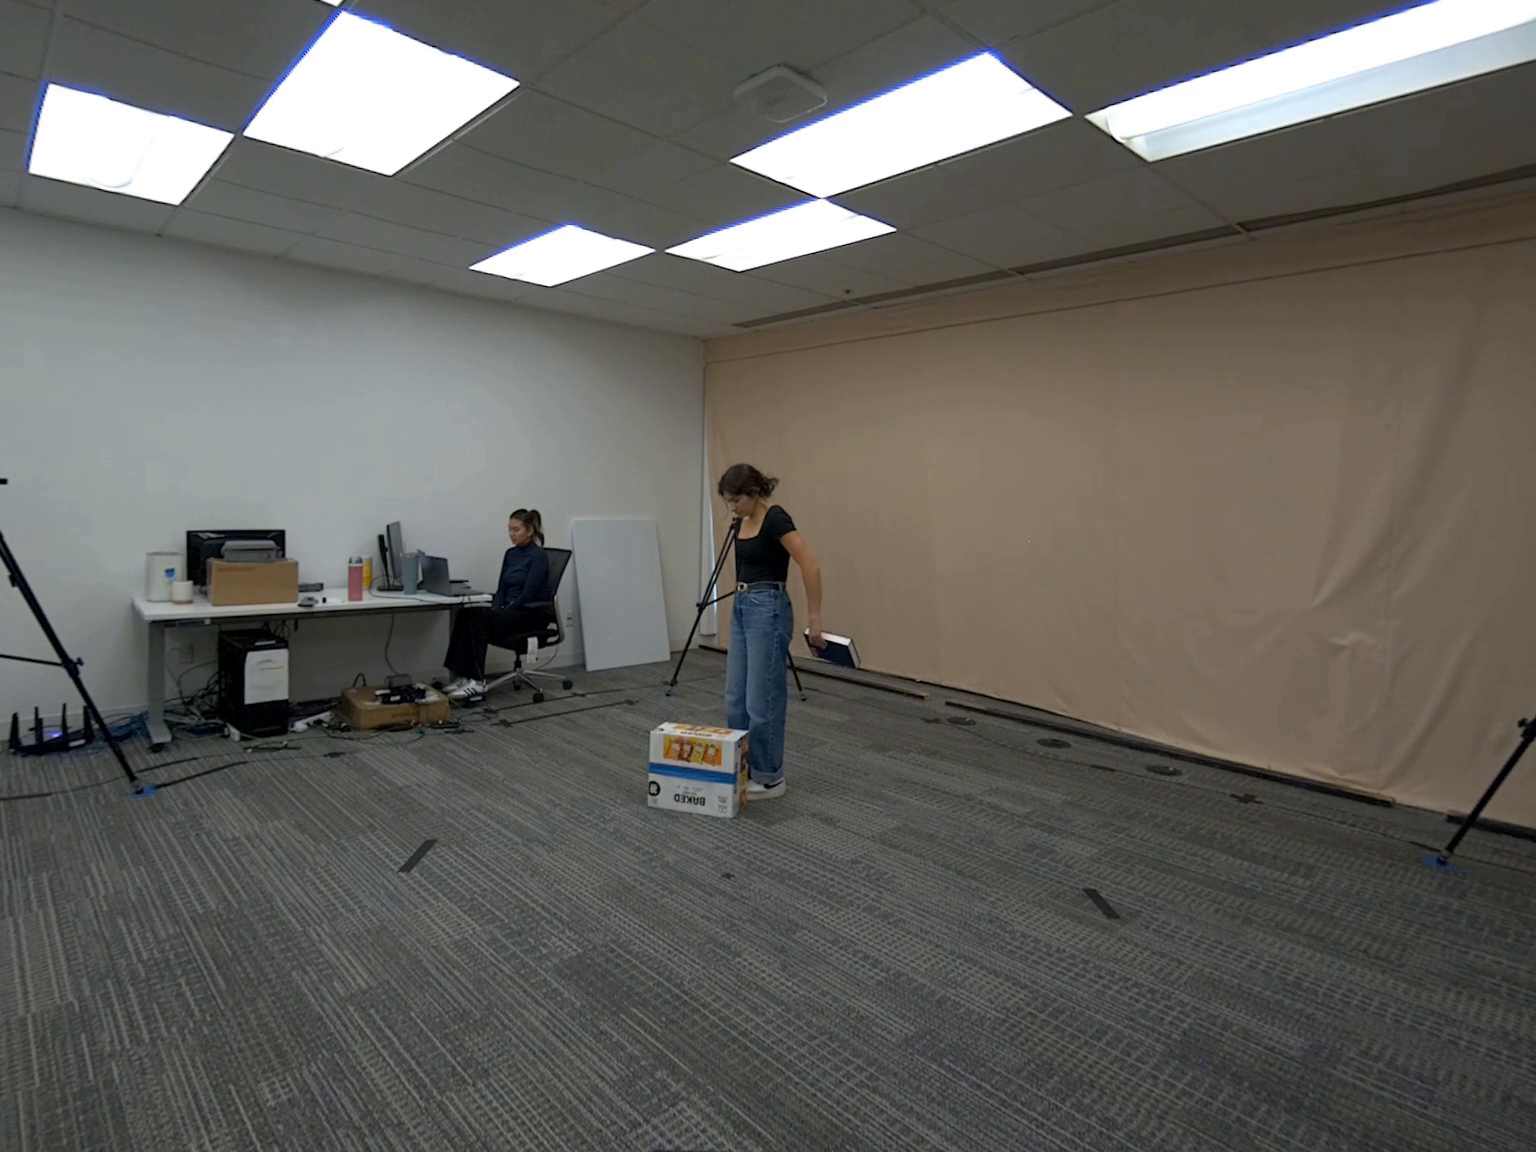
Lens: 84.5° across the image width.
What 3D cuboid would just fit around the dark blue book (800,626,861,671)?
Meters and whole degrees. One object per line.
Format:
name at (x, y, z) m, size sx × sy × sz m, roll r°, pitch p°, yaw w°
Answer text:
dark blue book at (0.281, 0.325, 3.832) m, size 0.252 × 0.159 × 0.045 m, roll 13°, pitch 51°, yaw 41°
